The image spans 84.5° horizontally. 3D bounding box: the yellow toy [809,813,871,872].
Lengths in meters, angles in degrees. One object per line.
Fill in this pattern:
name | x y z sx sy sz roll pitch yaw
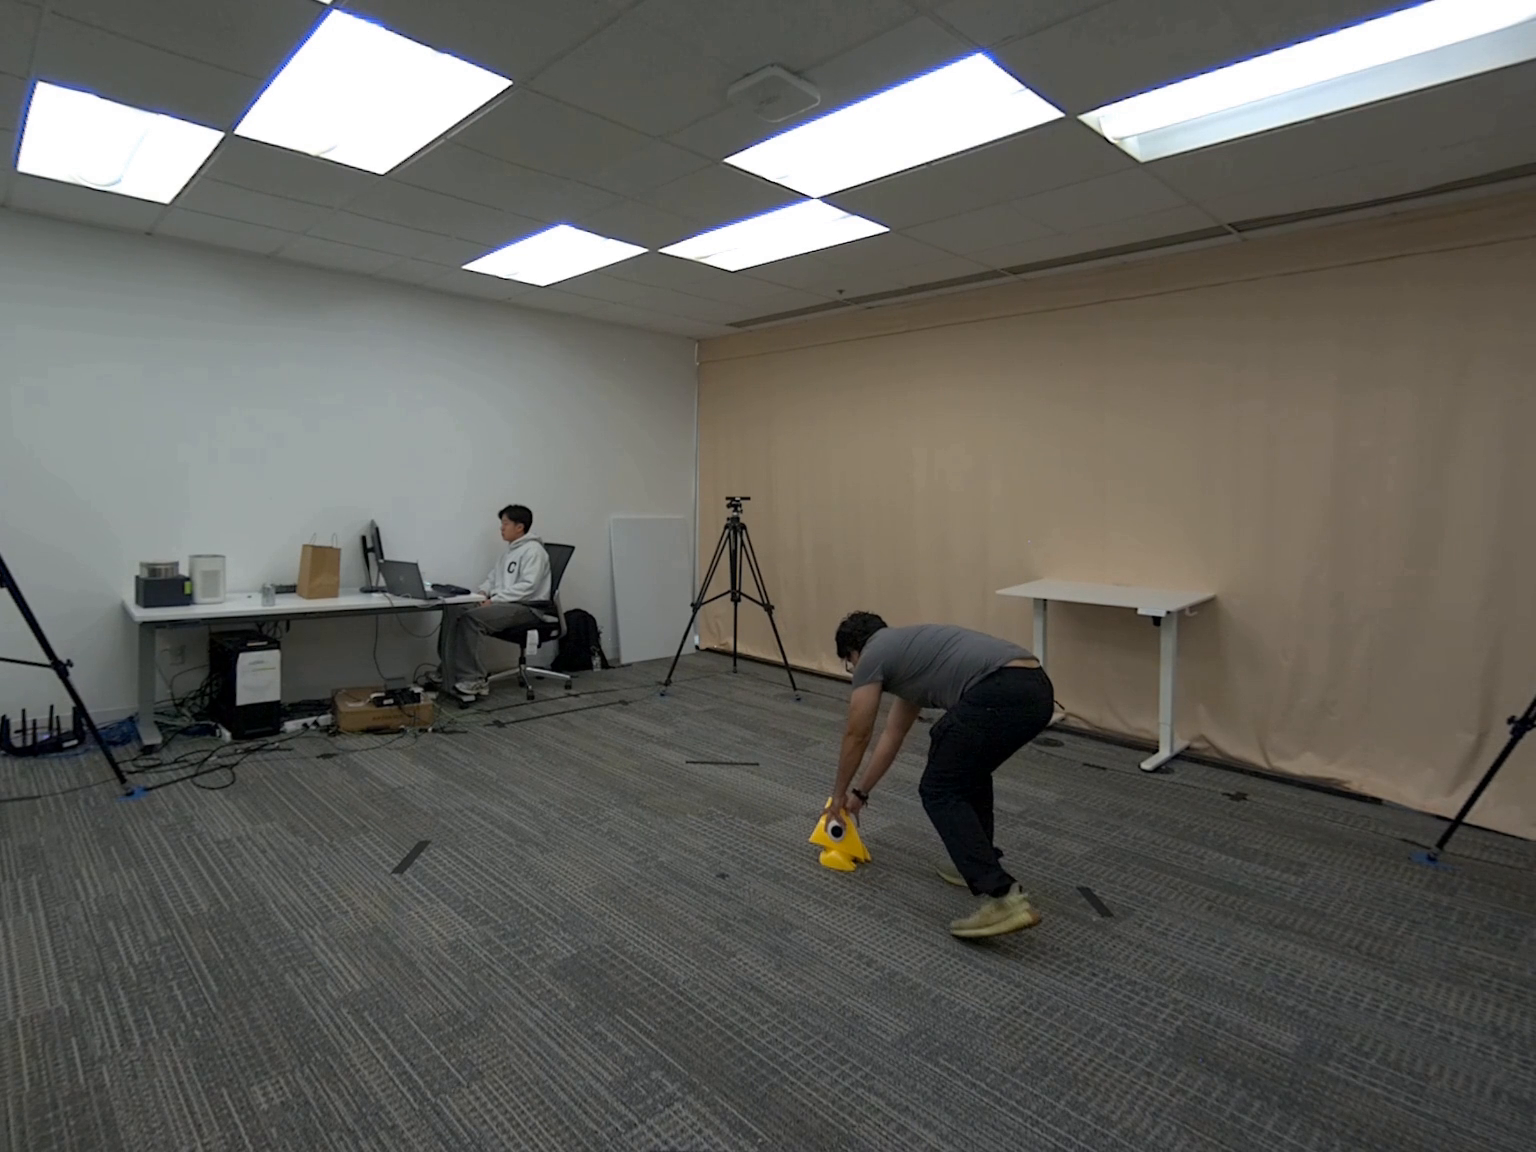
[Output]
yellow toy | 0.286 0.988 3.274 0.198 0.230 0.200 4 4 38
